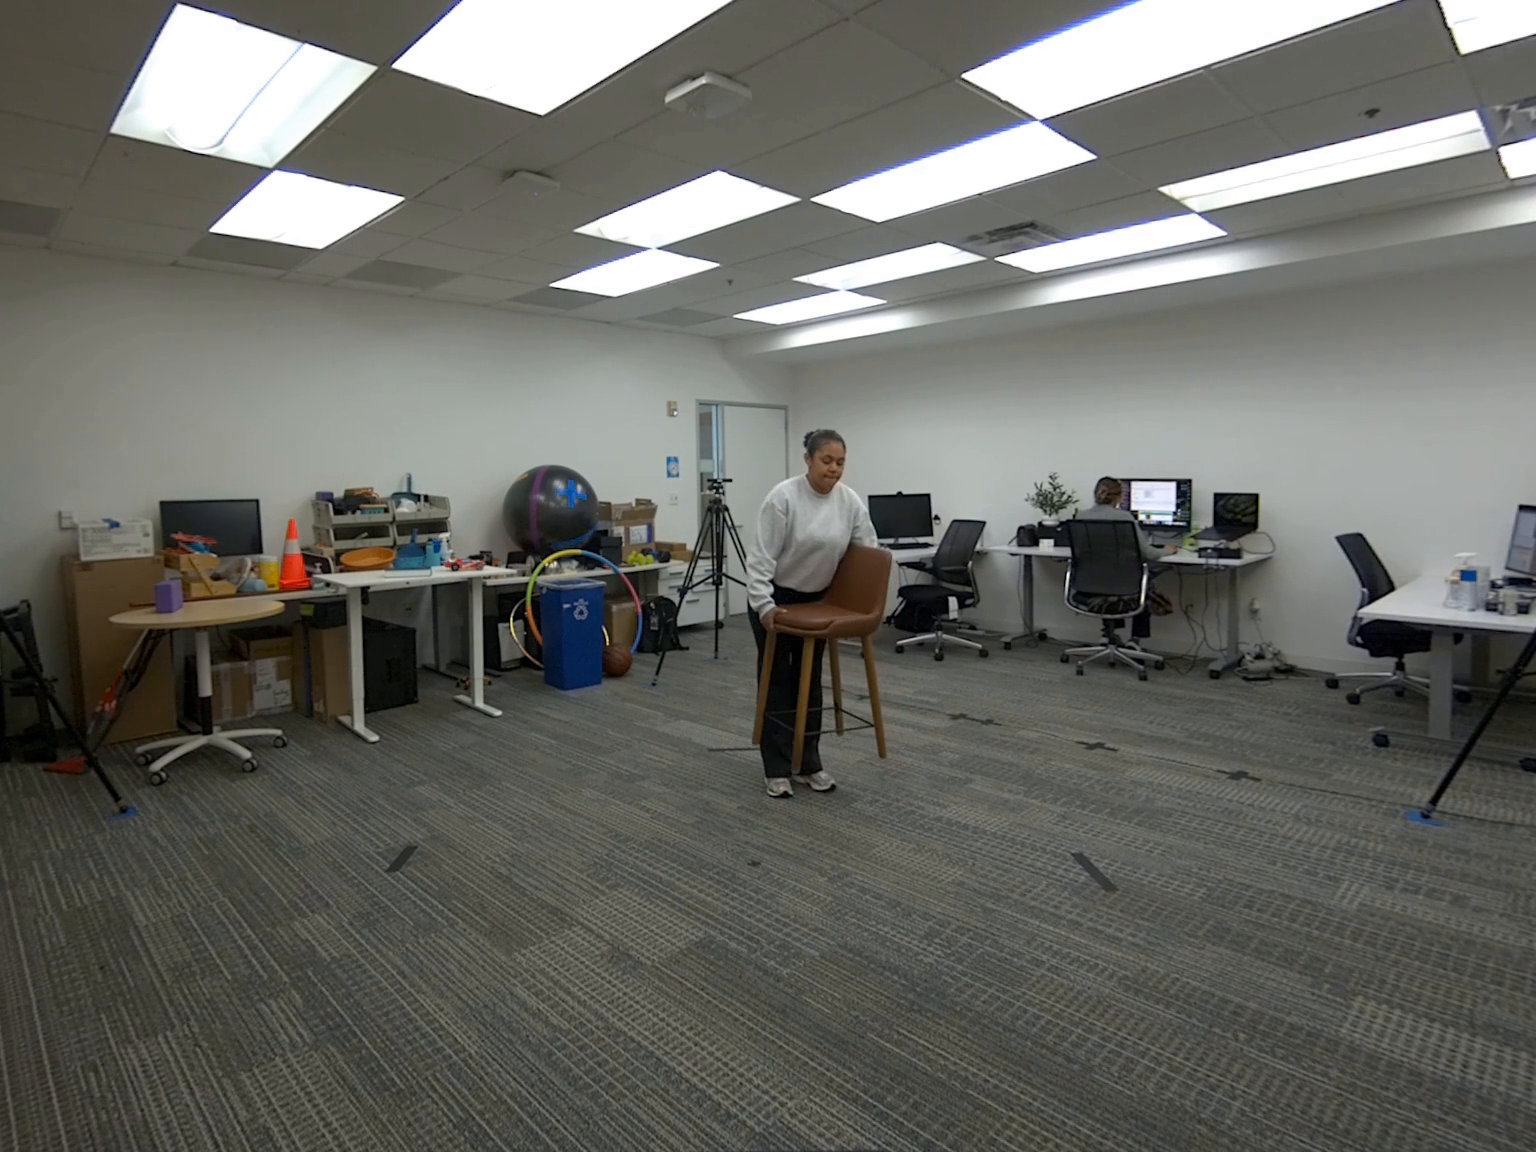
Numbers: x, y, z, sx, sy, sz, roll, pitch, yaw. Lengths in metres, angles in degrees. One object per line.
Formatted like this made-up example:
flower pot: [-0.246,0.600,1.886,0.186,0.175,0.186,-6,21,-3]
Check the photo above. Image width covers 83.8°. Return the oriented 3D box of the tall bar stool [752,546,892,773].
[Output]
tall bar stool: [0.235,0.330,3.634,0.458,0.887,0.468,1,4,-24]
